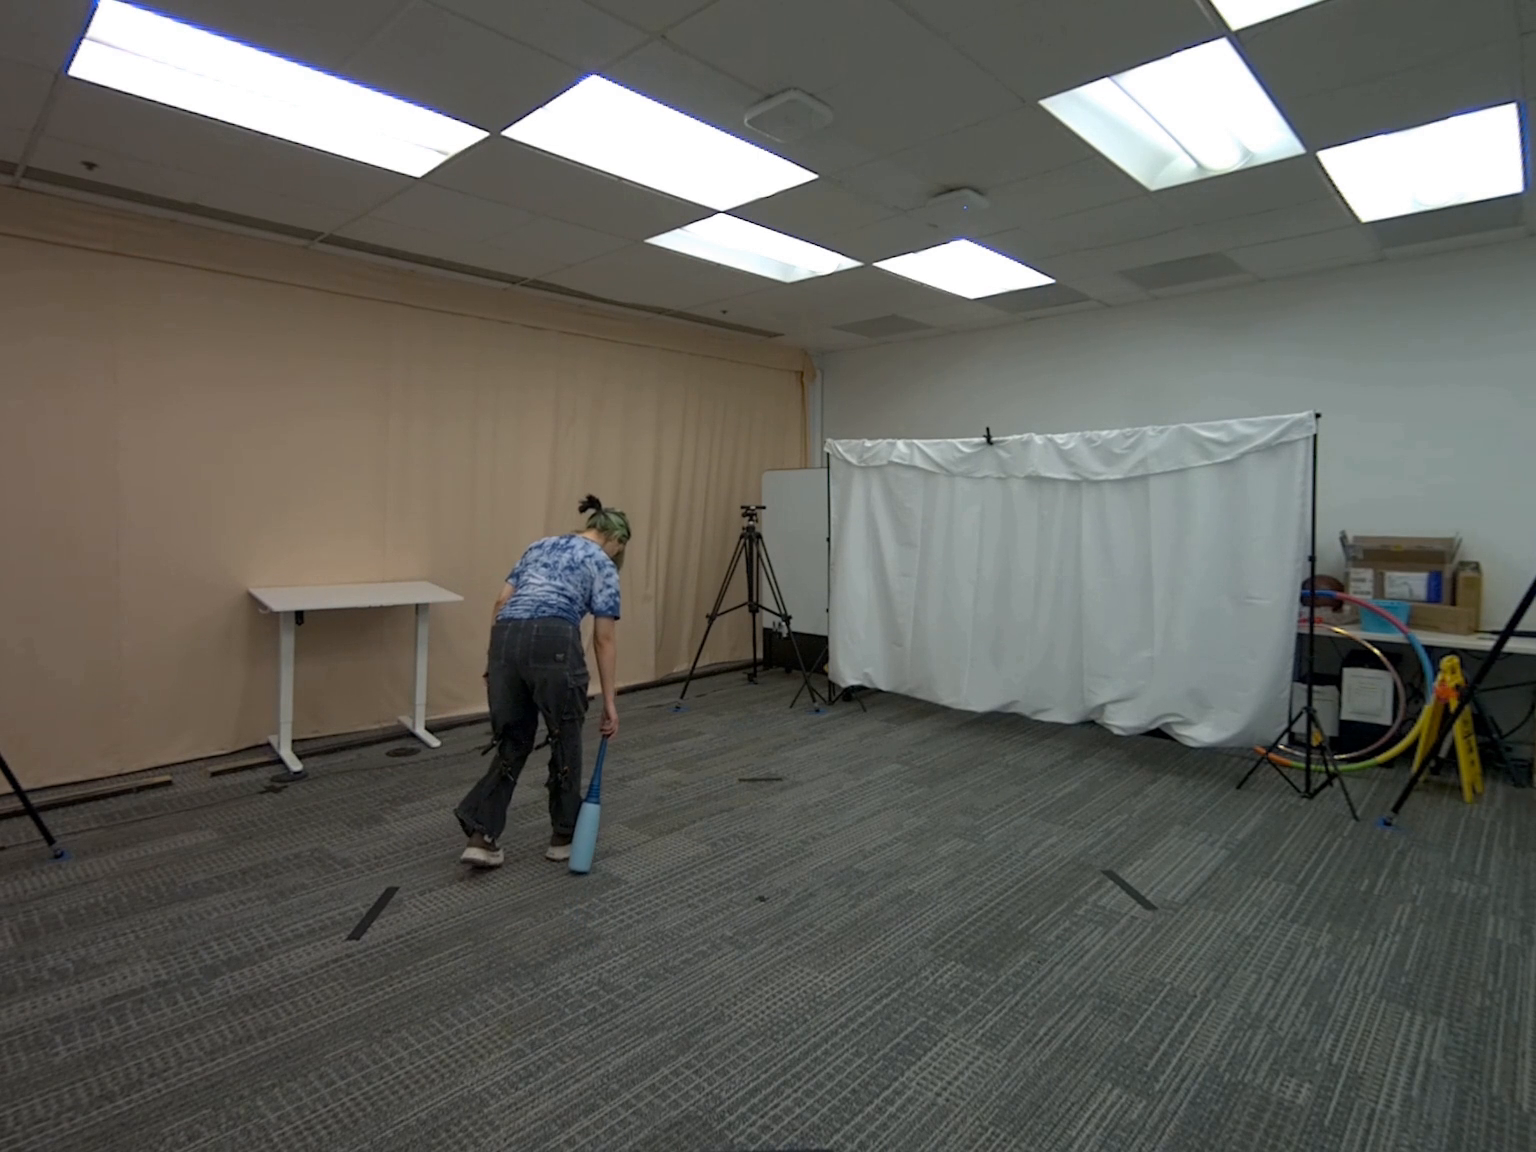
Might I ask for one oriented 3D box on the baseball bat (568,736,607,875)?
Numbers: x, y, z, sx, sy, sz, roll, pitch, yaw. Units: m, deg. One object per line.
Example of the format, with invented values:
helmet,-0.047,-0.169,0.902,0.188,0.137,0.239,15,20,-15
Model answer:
baseball bat,-0.688,0.869,3.265,0.089,0.547,0.088,8,-15,0
